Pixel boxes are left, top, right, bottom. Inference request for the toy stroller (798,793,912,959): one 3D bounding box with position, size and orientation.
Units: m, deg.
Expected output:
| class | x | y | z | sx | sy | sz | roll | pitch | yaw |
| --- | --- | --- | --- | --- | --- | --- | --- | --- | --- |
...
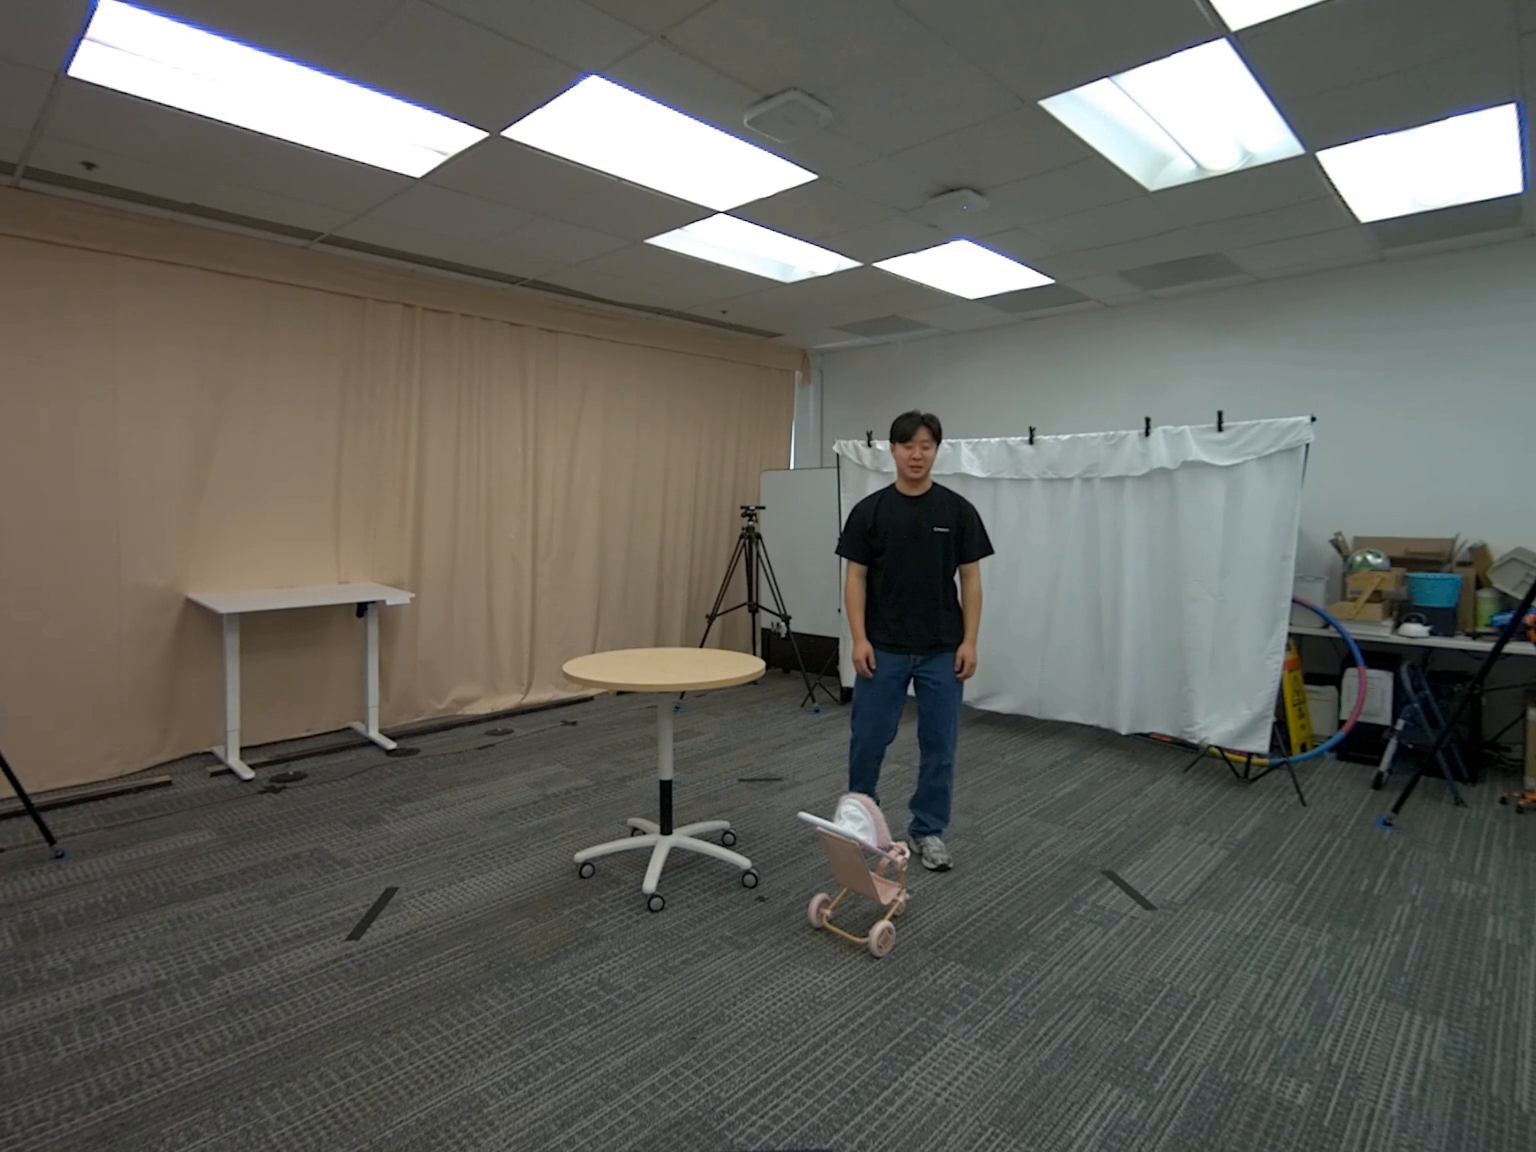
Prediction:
| class | x | y | z | sx | sy | sz | roll | pitch | yaw |
| --- | --- | --- | --- | --- | --- | --- | --- | --- | --- |
| toy stroller | 0.314 | 0.939 | 2.722 | 0.334 | 0.529 | 0.291 | -22 | 16 | -38 |
